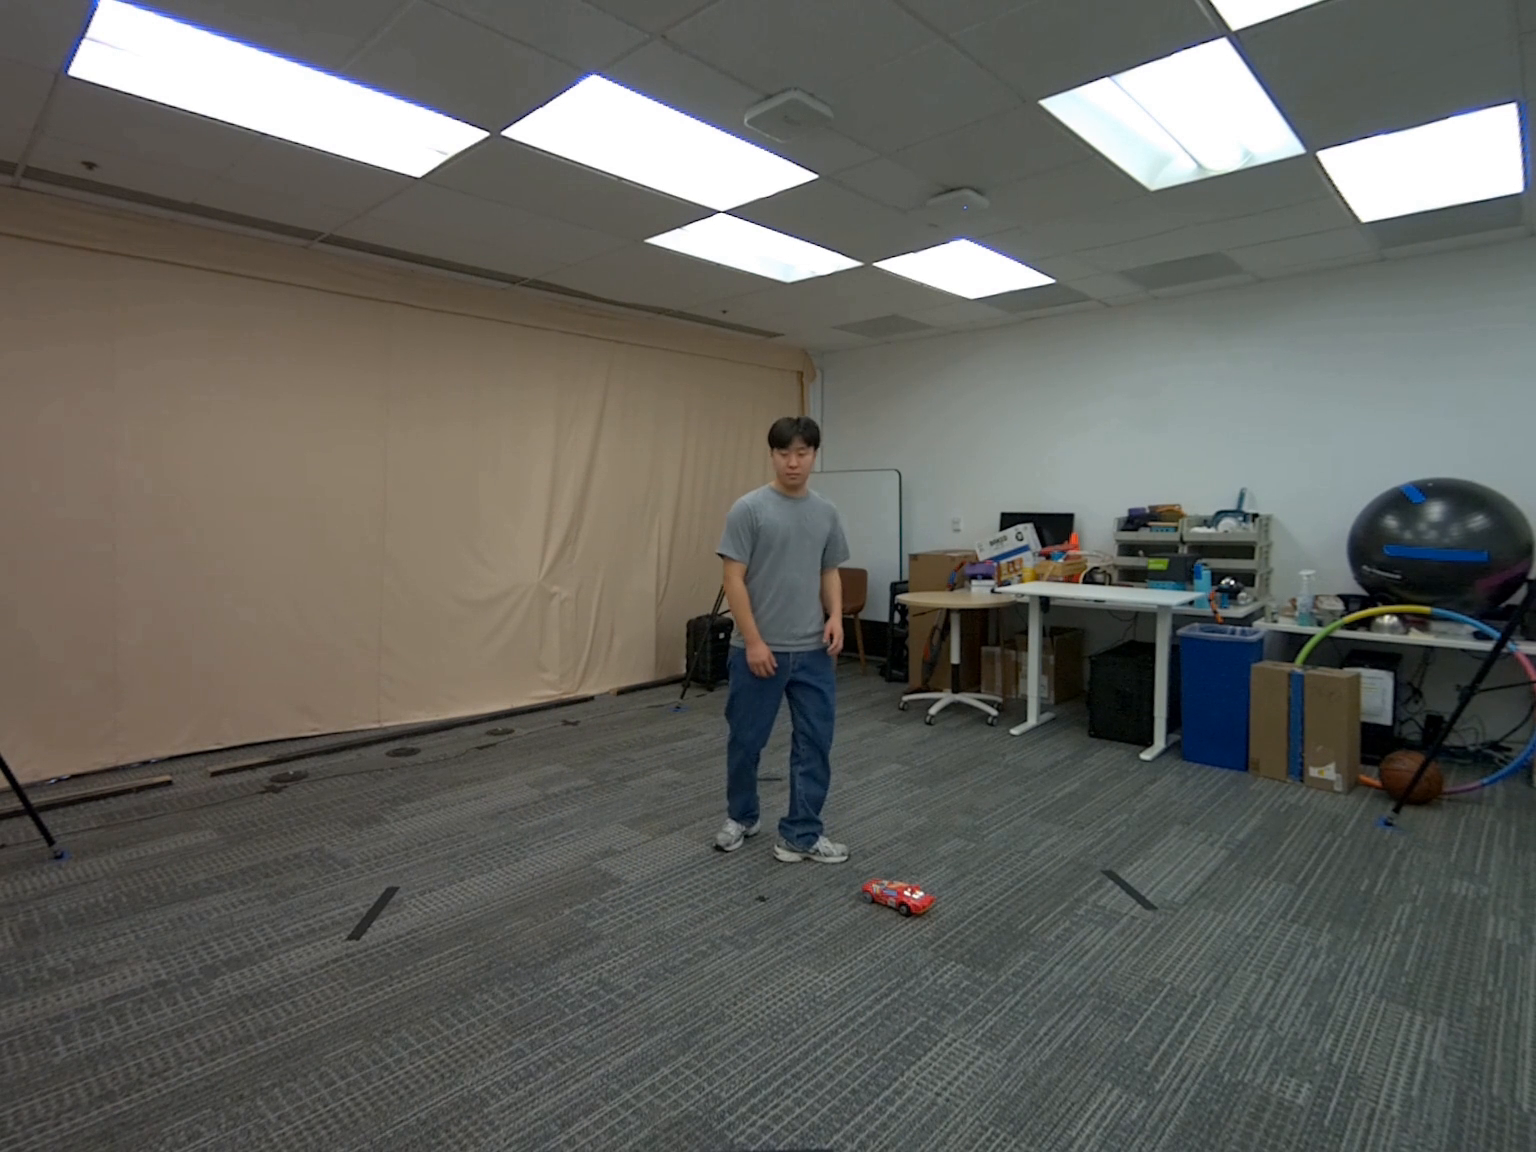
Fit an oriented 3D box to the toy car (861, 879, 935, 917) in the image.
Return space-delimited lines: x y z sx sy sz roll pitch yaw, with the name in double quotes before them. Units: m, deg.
"toy car" 0.463 1.115 2.915 0.262 0.083 0.126 -10 -3 42
